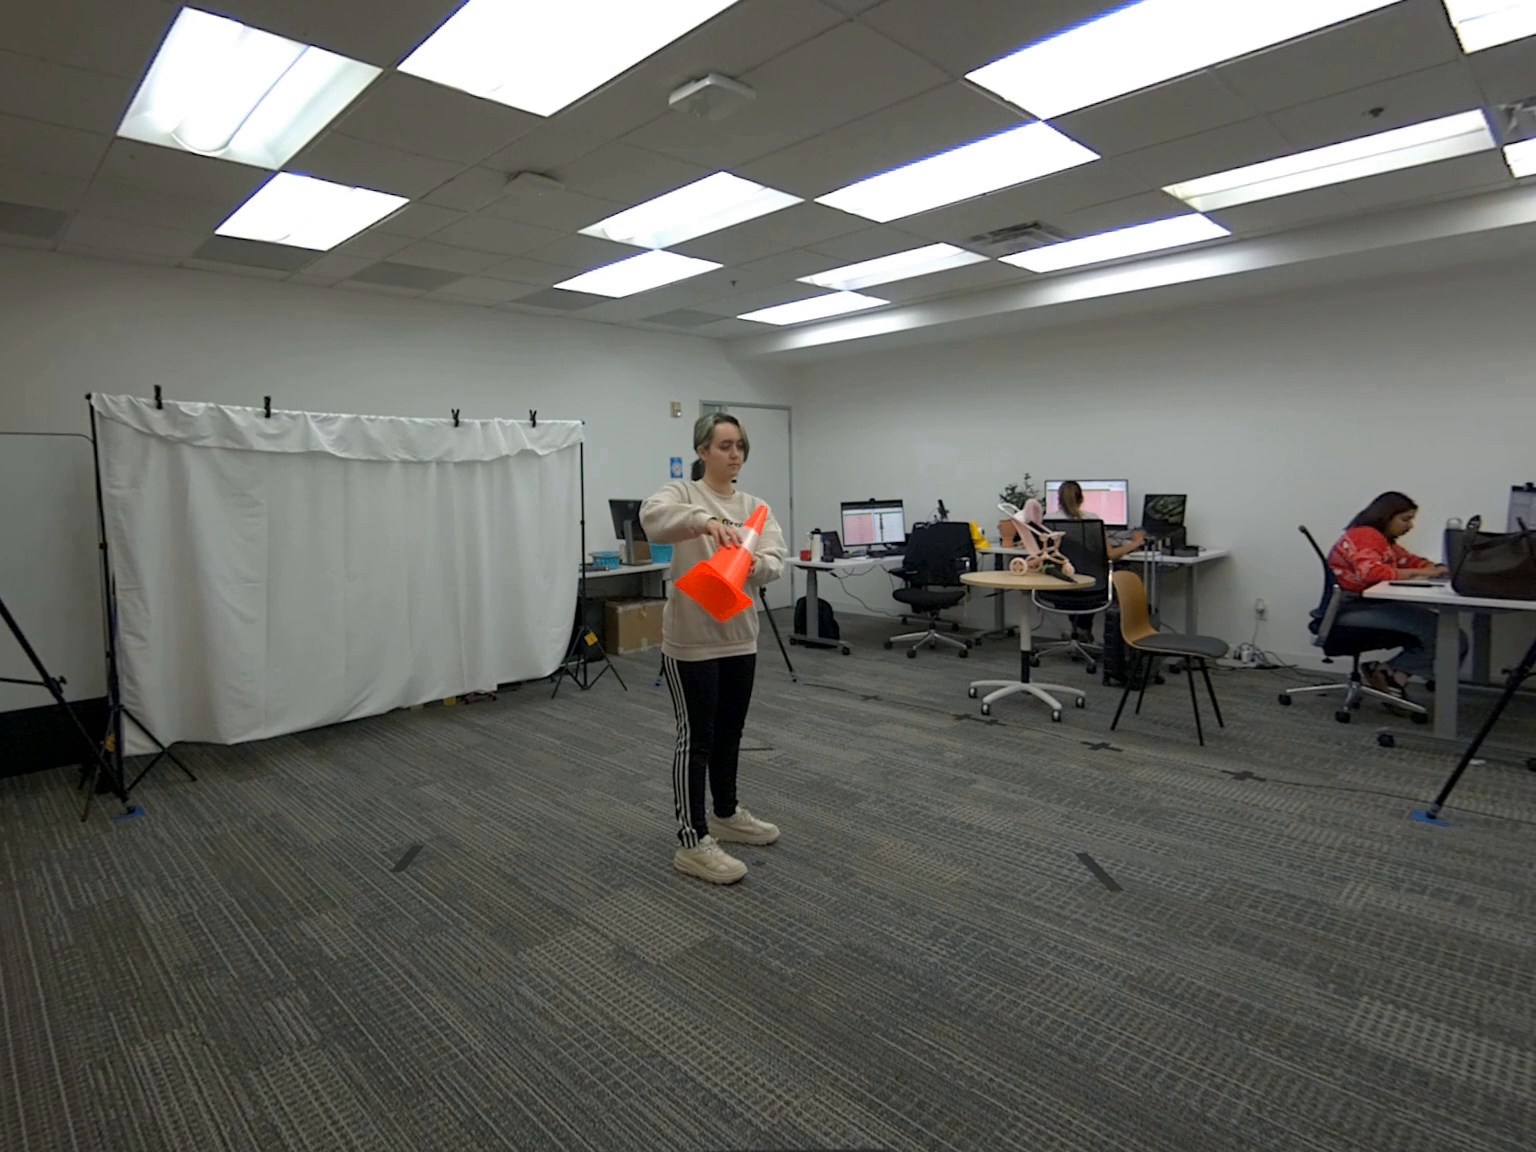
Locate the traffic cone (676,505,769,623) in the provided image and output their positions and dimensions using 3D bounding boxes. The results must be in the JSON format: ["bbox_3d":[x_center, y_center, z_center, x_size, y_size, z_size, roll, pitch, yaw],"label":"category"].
[{"bbox_3d":[-0.090,-0.079,2.665,0.202,0.387,0.204,36,-38,-11],"label":"traffic cone"}]
